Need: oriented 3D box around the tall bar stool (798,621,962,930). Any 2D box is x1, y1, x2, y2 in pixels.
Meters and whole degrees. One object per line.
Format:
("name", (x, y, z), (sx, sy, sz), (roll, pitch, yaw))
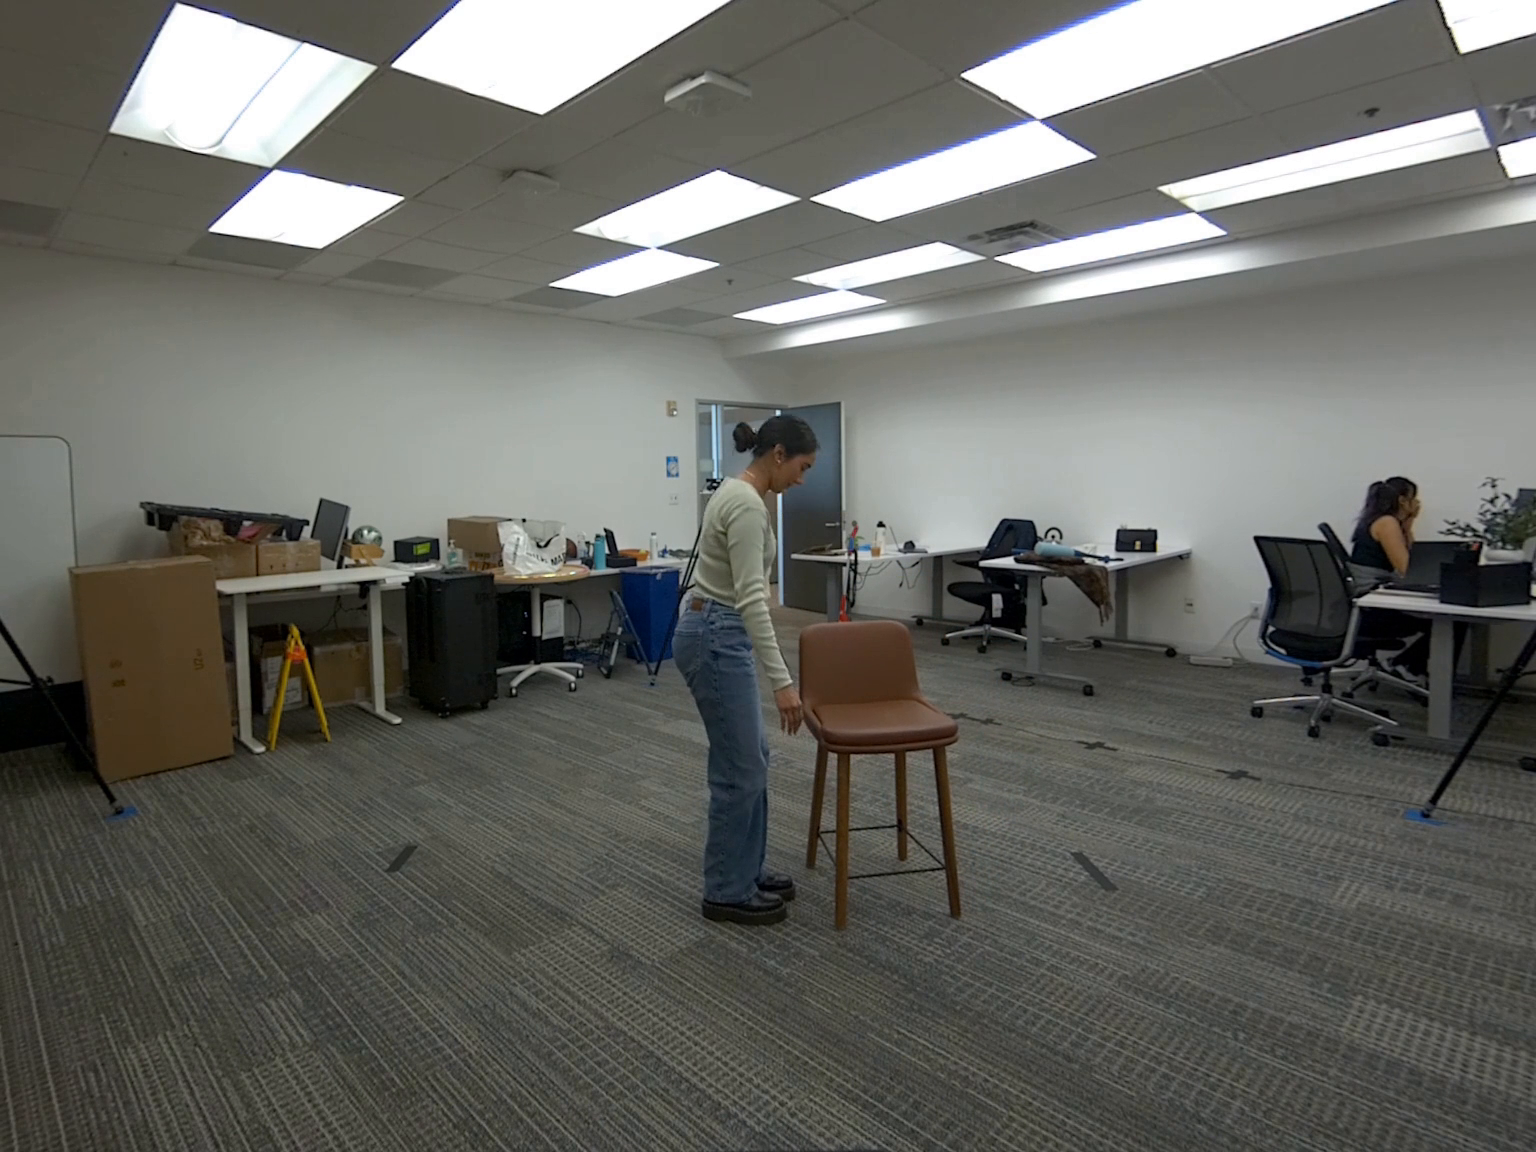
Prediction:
("tall bar stool", (0.363, 0.630, 2.866), (0.452, 0.888, 0.473), (-2, 3, -11))
